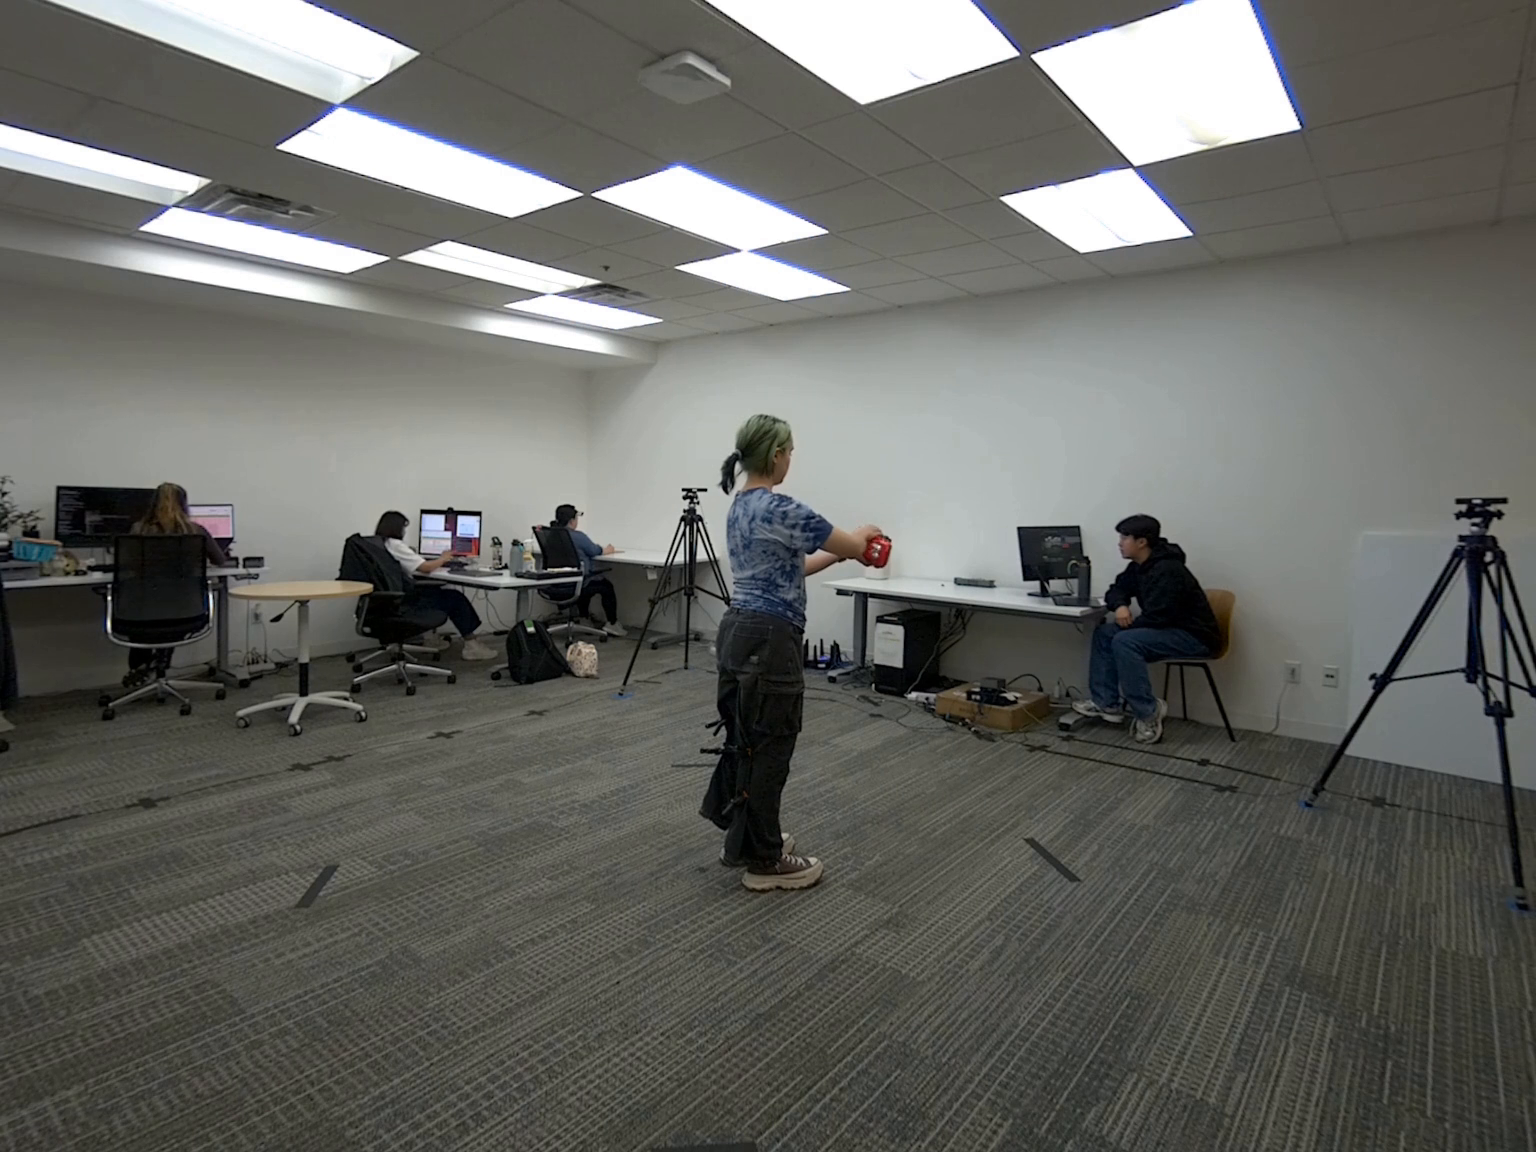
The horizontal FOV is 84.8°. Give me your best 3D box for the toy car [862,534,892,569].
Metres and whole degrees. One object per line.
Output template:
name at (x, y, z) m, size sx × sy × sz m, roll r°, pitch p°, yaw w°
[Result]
toy car at (0.389, -0.107, 3.224) m, size 0.081 × 0.129 × 0.261 m, roll 11°, pitch 11°, yaw -18°
